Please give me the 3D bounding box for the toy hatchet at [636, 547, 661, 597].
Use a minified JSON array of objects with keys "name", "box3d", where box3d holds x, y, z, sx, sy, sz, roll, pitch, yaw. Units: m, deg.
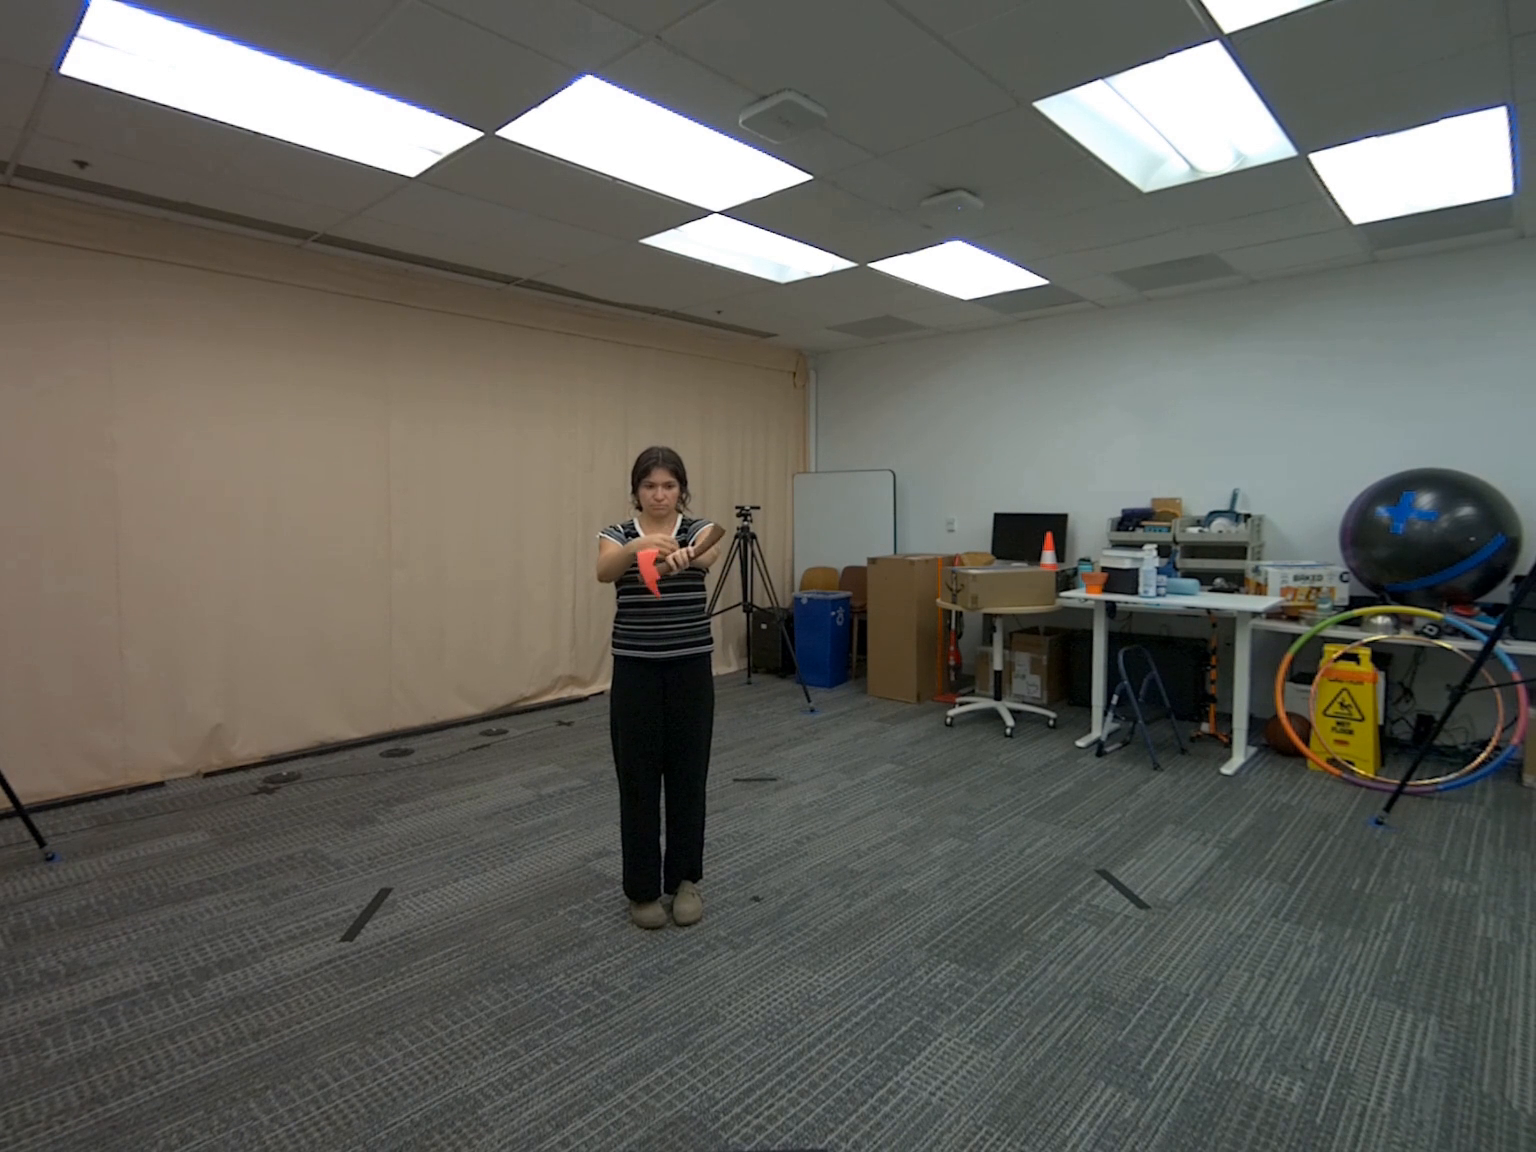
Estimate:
[{"name":"toy hatchet","box3d":[-0.247,-0.072,2.301,0.269,0.131,0.030,-42,2,-13]}]
